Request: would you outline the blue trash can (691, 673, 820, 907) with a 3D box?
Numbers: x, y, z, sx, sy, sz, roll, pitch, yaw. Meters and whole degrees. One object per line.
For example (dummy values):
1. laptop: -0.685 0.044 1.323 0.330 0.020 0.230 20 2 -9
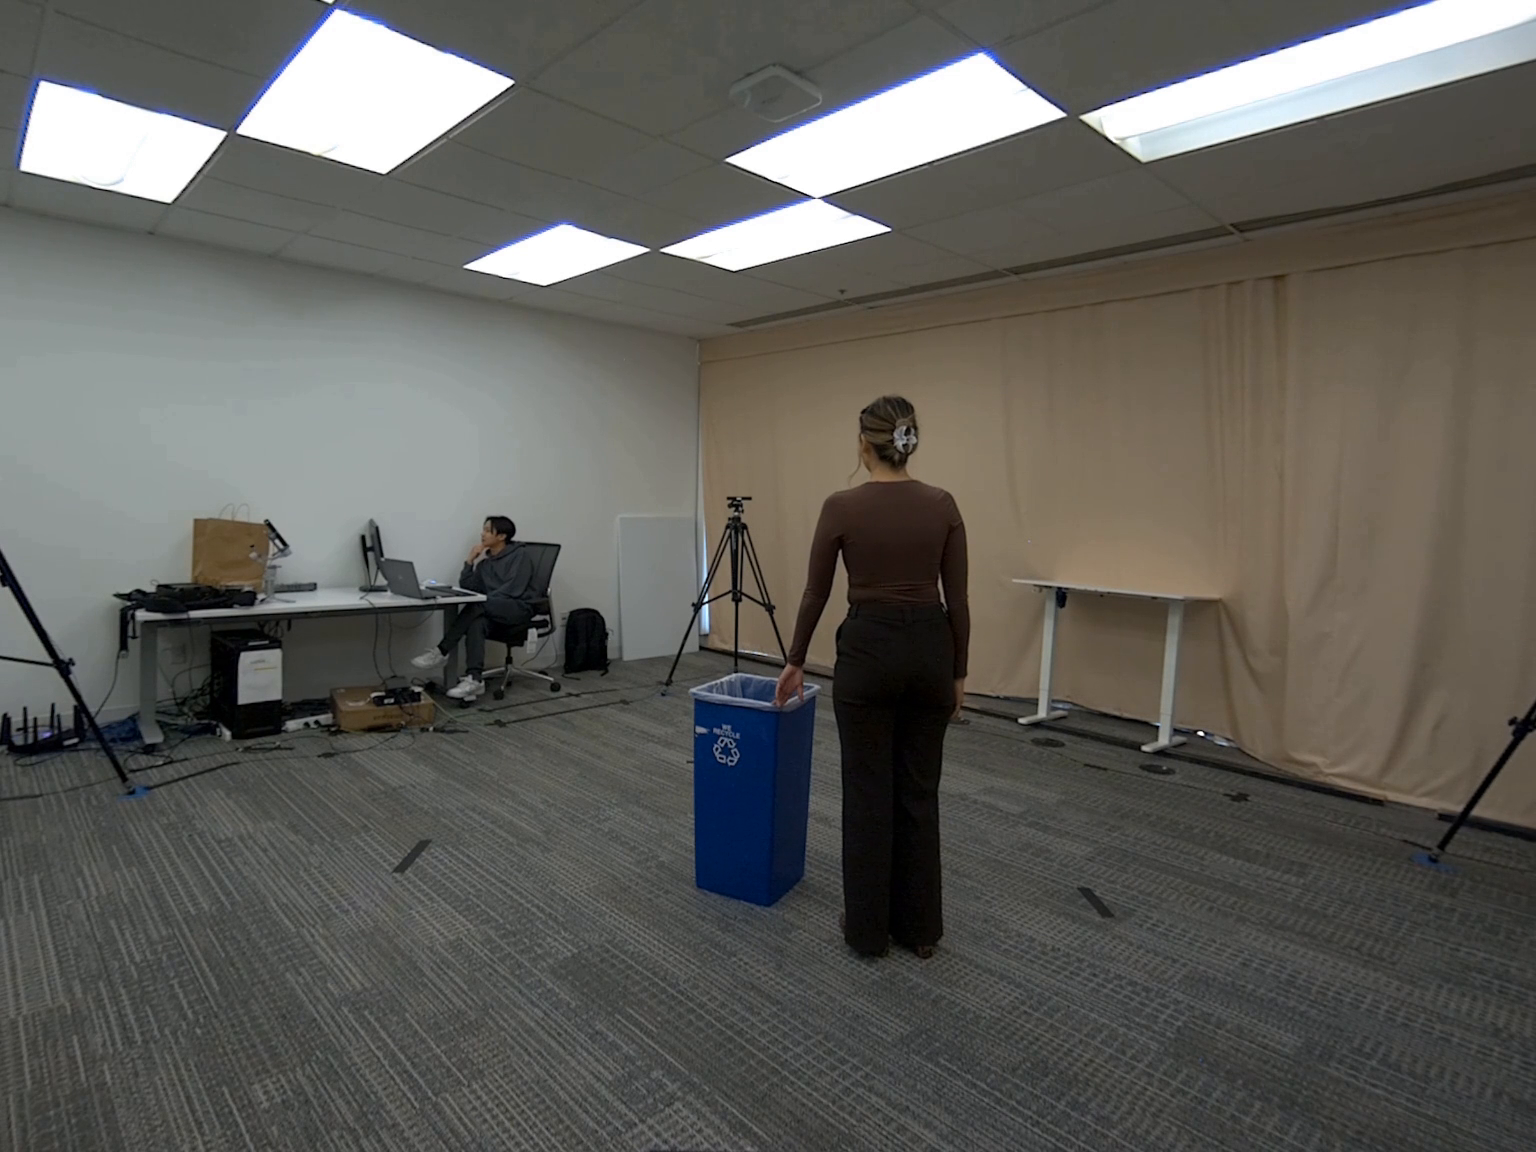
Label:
1. blue trash can: -0.054 0.754 3.044 0.382 0.712 0.371 3 4 28
